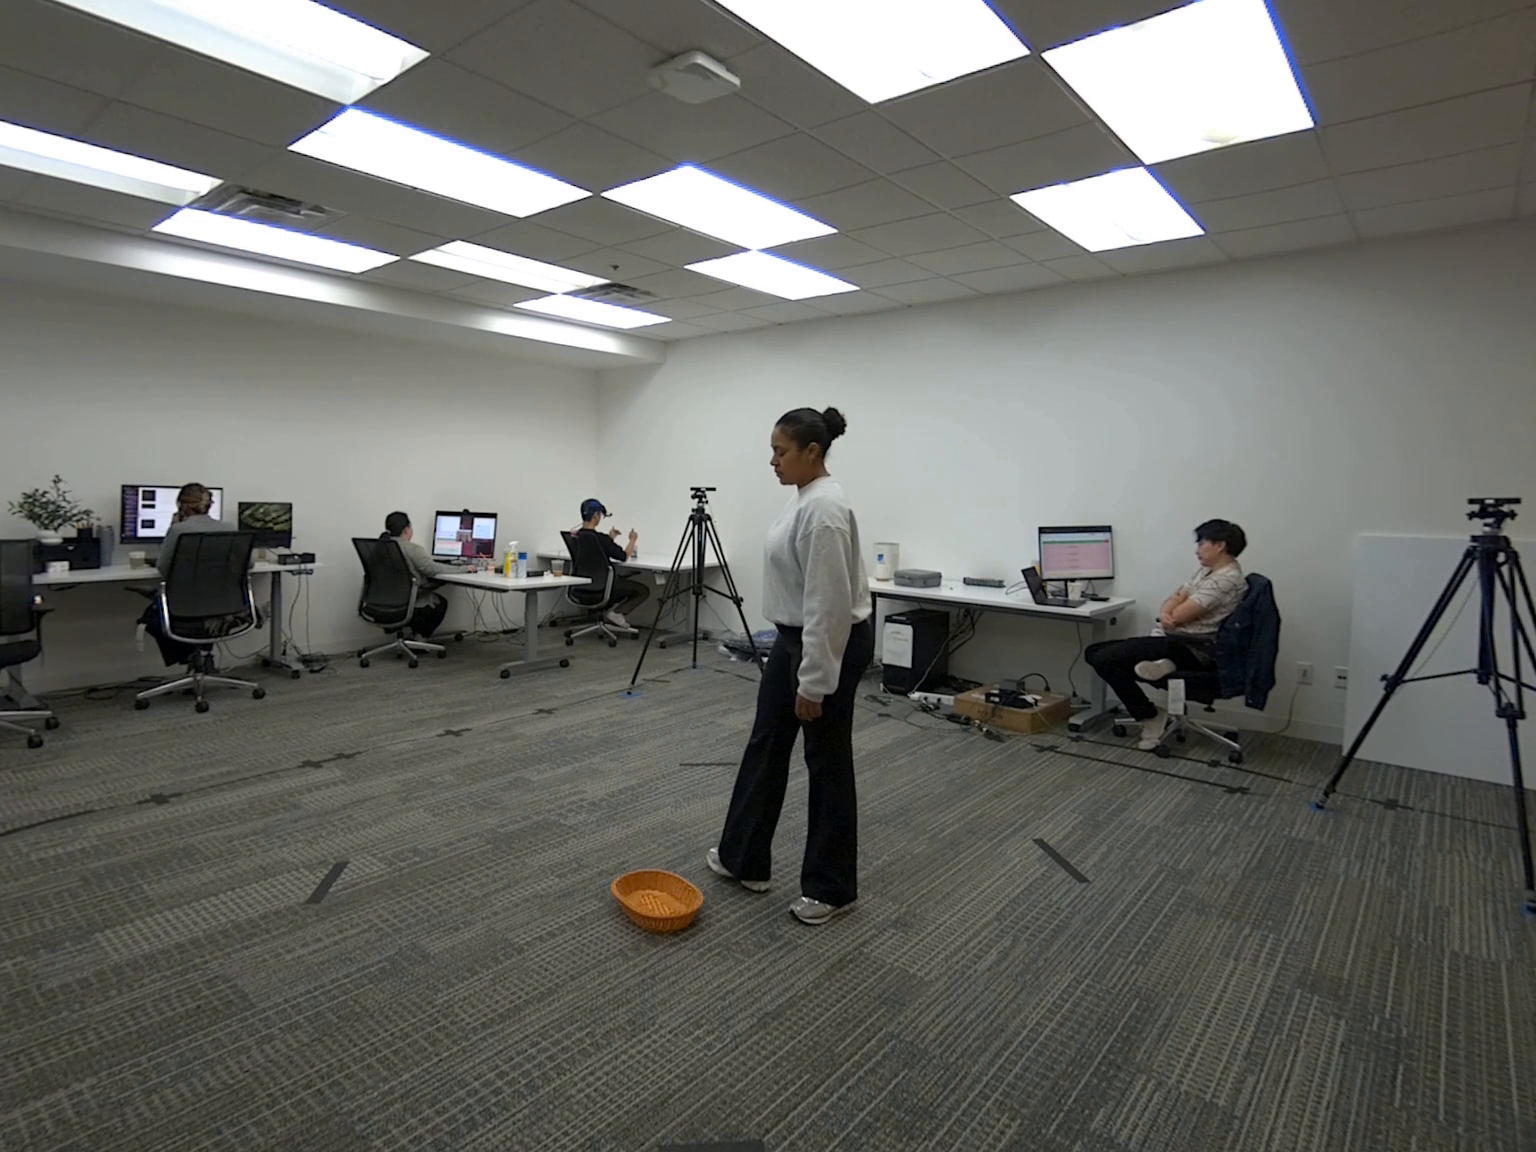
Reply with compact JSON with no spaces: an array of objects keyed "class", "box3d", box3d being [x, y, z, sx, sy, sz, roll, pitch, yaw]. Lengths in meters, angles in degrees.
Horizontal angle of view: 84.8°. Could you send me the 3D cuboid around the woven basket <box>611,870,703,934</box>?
[{"class":"woven basket","box3d":[-0.373,1.059,2.776,0.245,0.073,0.362,-2,6,-34]}]
